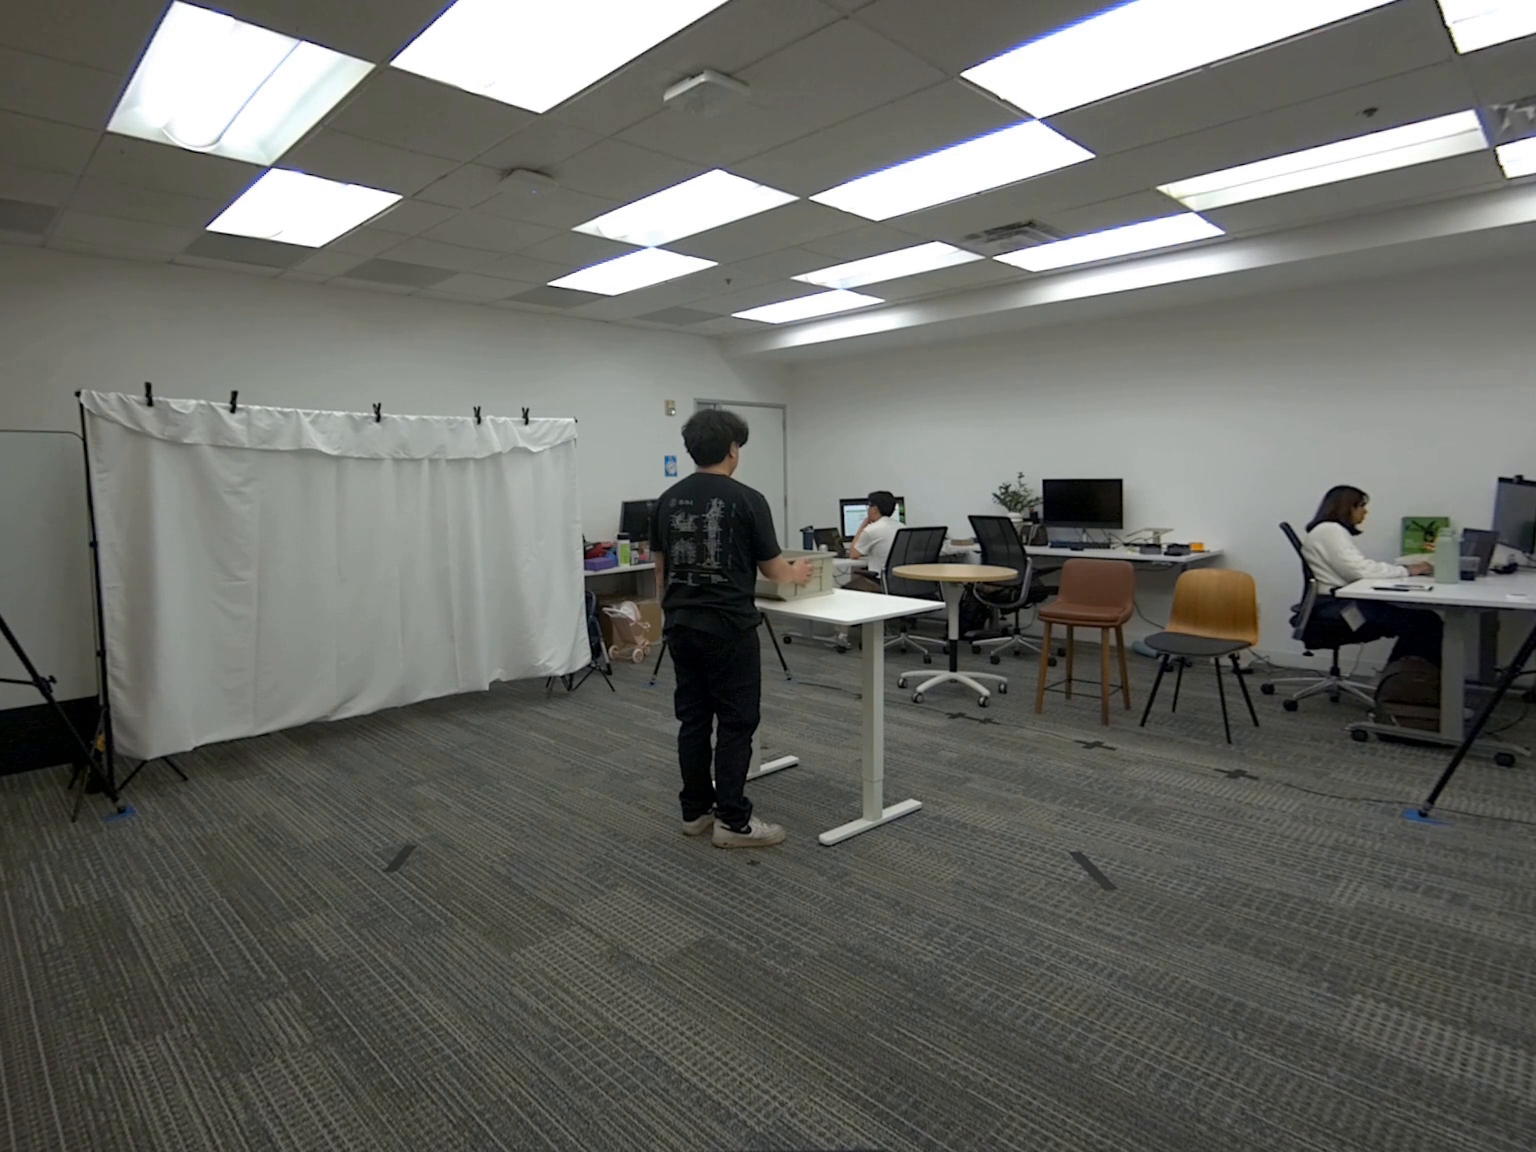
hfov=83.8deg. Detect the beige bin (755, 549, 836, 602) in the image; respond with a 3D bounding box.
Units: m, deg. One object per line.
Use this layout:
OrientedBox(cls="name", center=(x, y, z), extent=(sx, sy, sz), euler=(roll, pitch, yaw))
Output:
OrientedBox(cls="beige bin", center=(0.030, -0.007, 3.793), extent=(0.367, 0.188, 0.435), euler=(-7, 8, -44))
